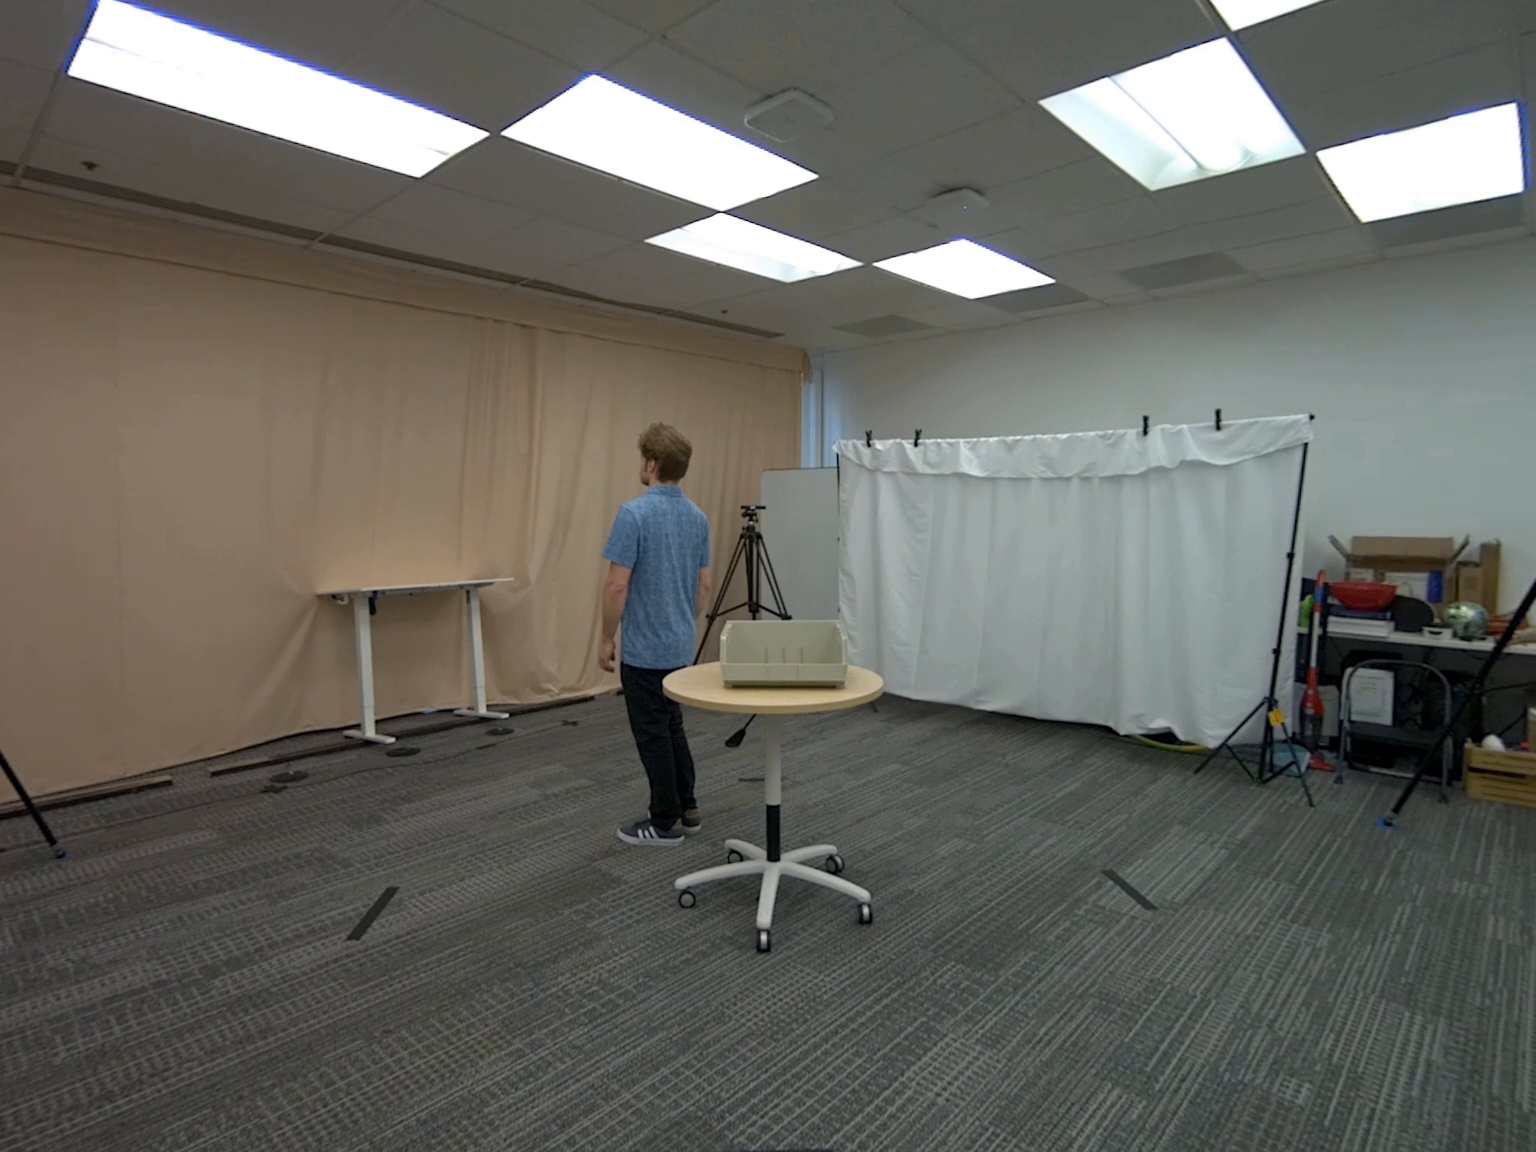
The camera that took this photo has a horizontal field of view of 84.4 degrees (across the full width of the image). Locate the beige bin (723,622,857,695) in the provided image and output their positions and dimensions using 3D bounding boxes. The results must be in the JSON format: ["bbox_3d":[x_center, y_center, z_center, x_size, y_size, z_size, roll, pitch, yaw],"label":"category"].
[{"bbox_3d":[0.069,0.275,2.915,0.424,0.189,0.377,-1,3,2],"label":"beige bin"}]
